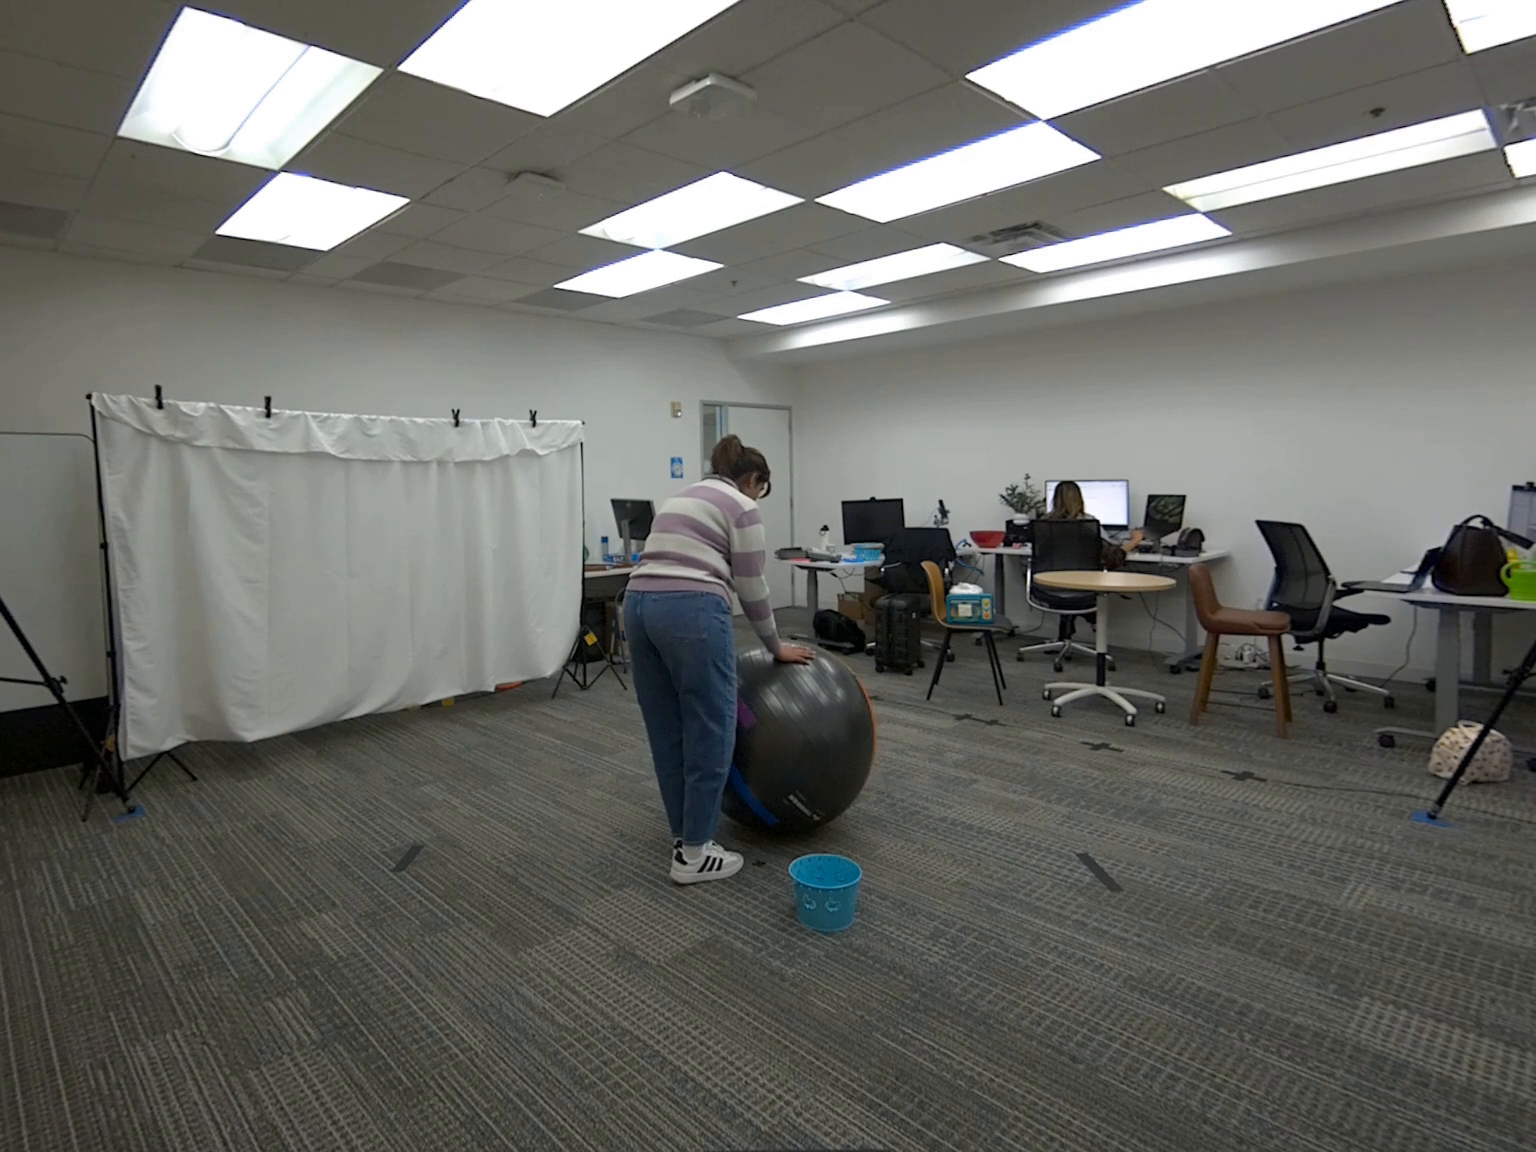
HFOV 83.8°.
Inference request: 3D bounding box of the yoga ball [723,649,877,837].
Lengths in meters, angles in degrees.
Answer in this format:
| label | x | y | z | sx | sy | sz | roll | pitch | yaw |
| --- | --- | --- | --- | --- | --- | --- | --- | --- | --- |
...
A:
| label | x | y | z | sx | sy | sz | roll | pitch | yaw |
| --- | --- | --- | --- | --- | --- | --- | --- | --- | --- |
| yoga ball | 0.056 | 0.641 | 3.445 | 0.757 | 0.755 | 0.762 | -1 | 5 | -2 |
